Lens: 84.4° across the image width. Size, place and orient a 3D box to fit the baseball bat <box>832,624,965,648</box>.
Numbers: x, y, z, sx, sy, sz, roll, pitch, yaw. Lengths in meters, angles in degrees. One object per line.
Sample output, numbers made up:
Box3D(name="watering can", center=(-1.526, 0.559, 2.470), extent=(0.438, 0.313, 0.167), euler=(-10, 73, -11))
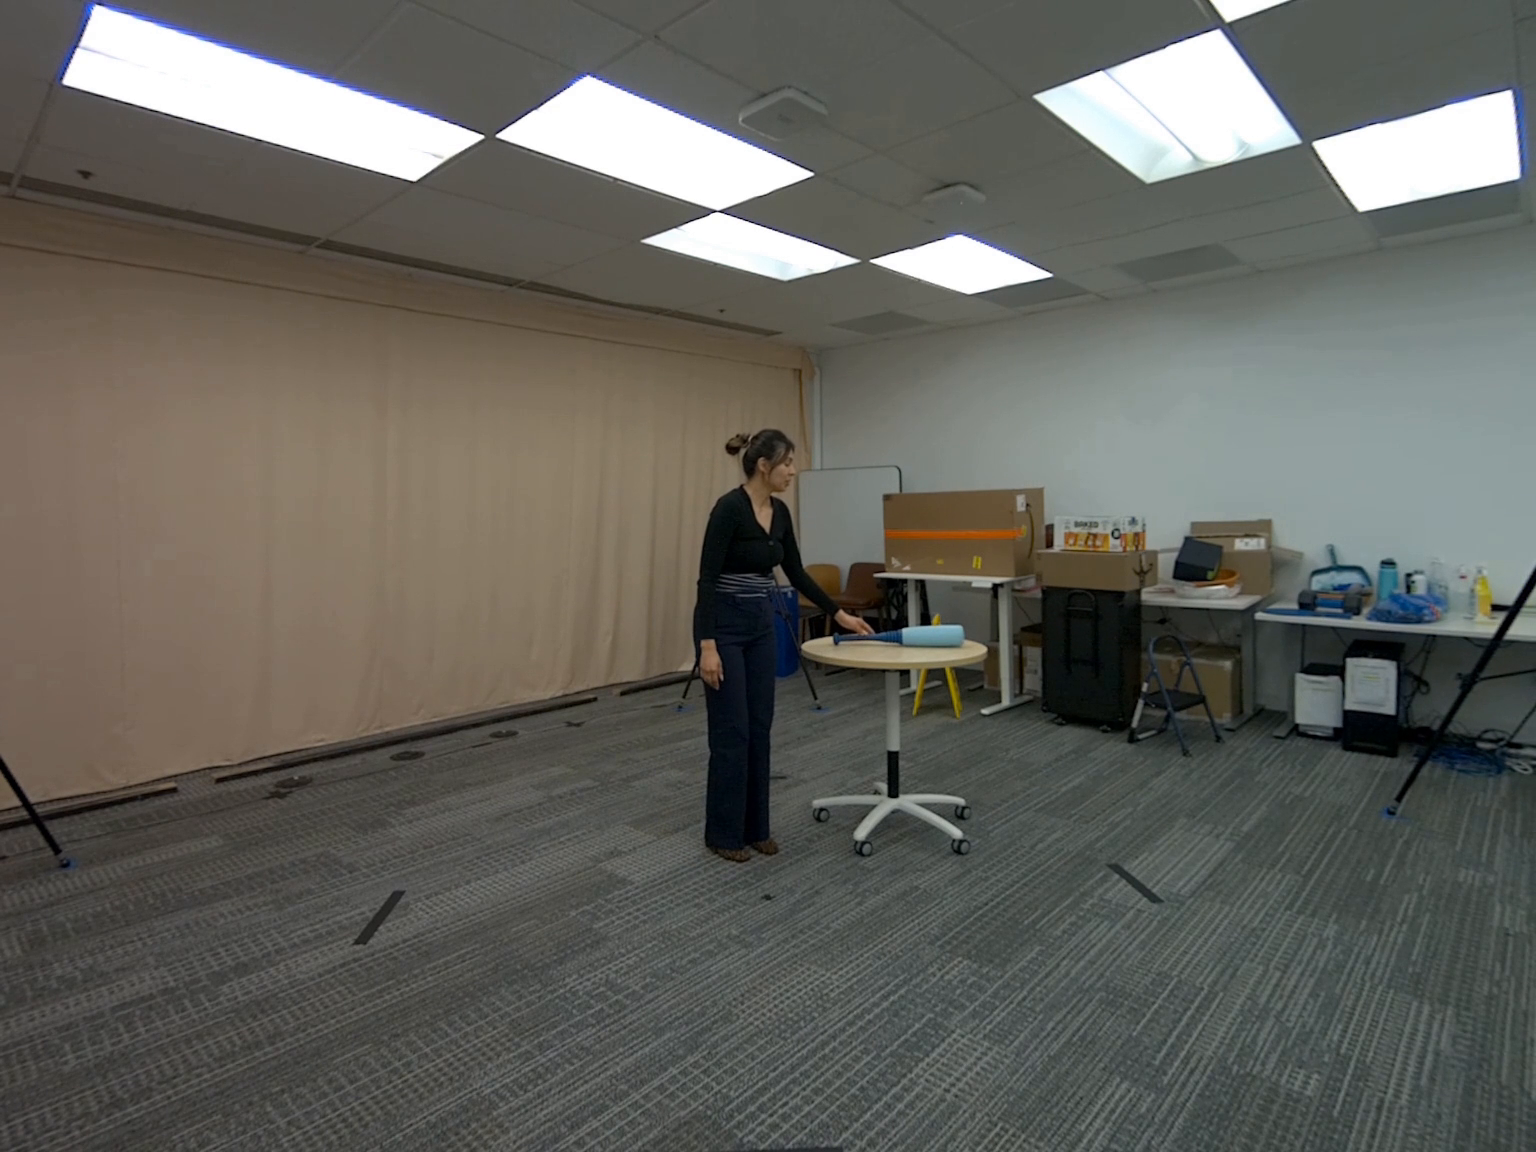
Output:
Box3D(name="baseball bat", center=(0.548, 0.257, 3.568), extent=(0.550, 0.089, 0.088), euler=(-1, 4, 12))
